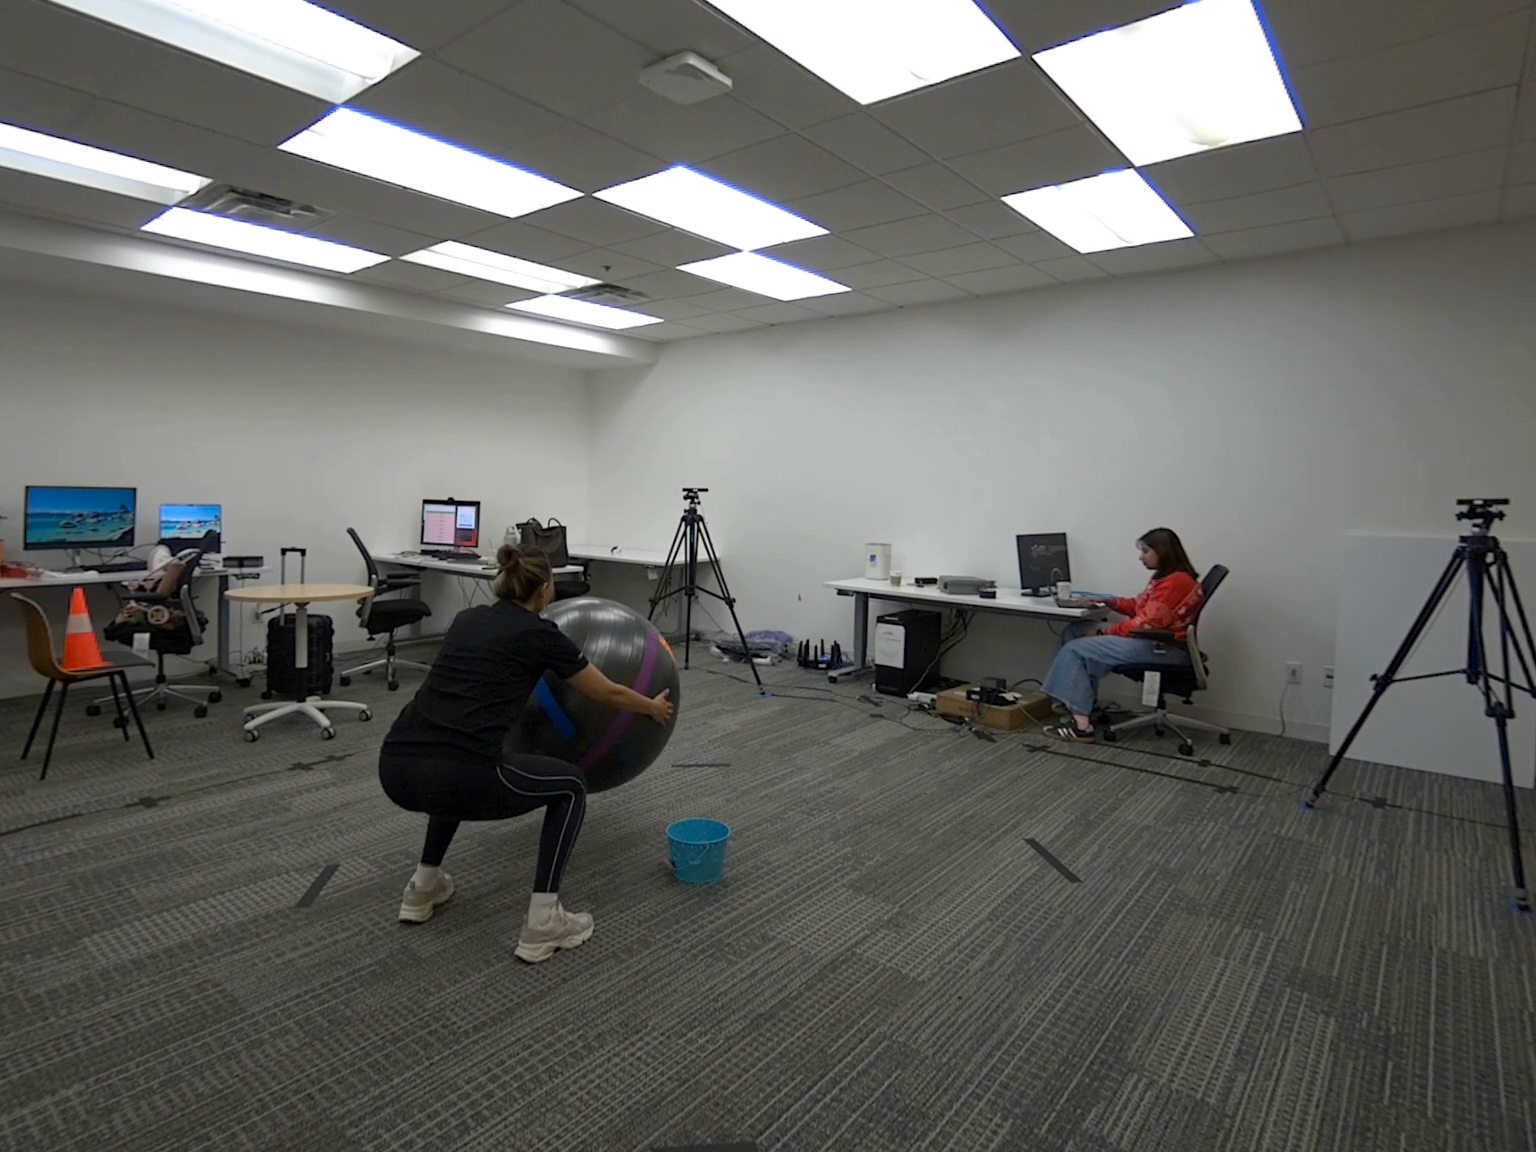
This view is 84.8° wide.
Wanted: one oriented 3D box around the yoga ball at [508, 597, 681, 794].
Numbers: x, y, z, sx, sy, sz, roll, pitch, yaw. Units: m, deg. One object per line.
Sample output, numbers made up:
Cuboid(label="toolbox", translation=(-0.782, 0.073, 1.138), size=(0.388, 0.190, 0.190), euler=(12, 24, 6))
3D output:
Cuboid(label="yoga ball", translation=(-0.730, 0.459, 3.351), size=(0.757, 0.756, 0.762), euler=(1, 4, -2))
